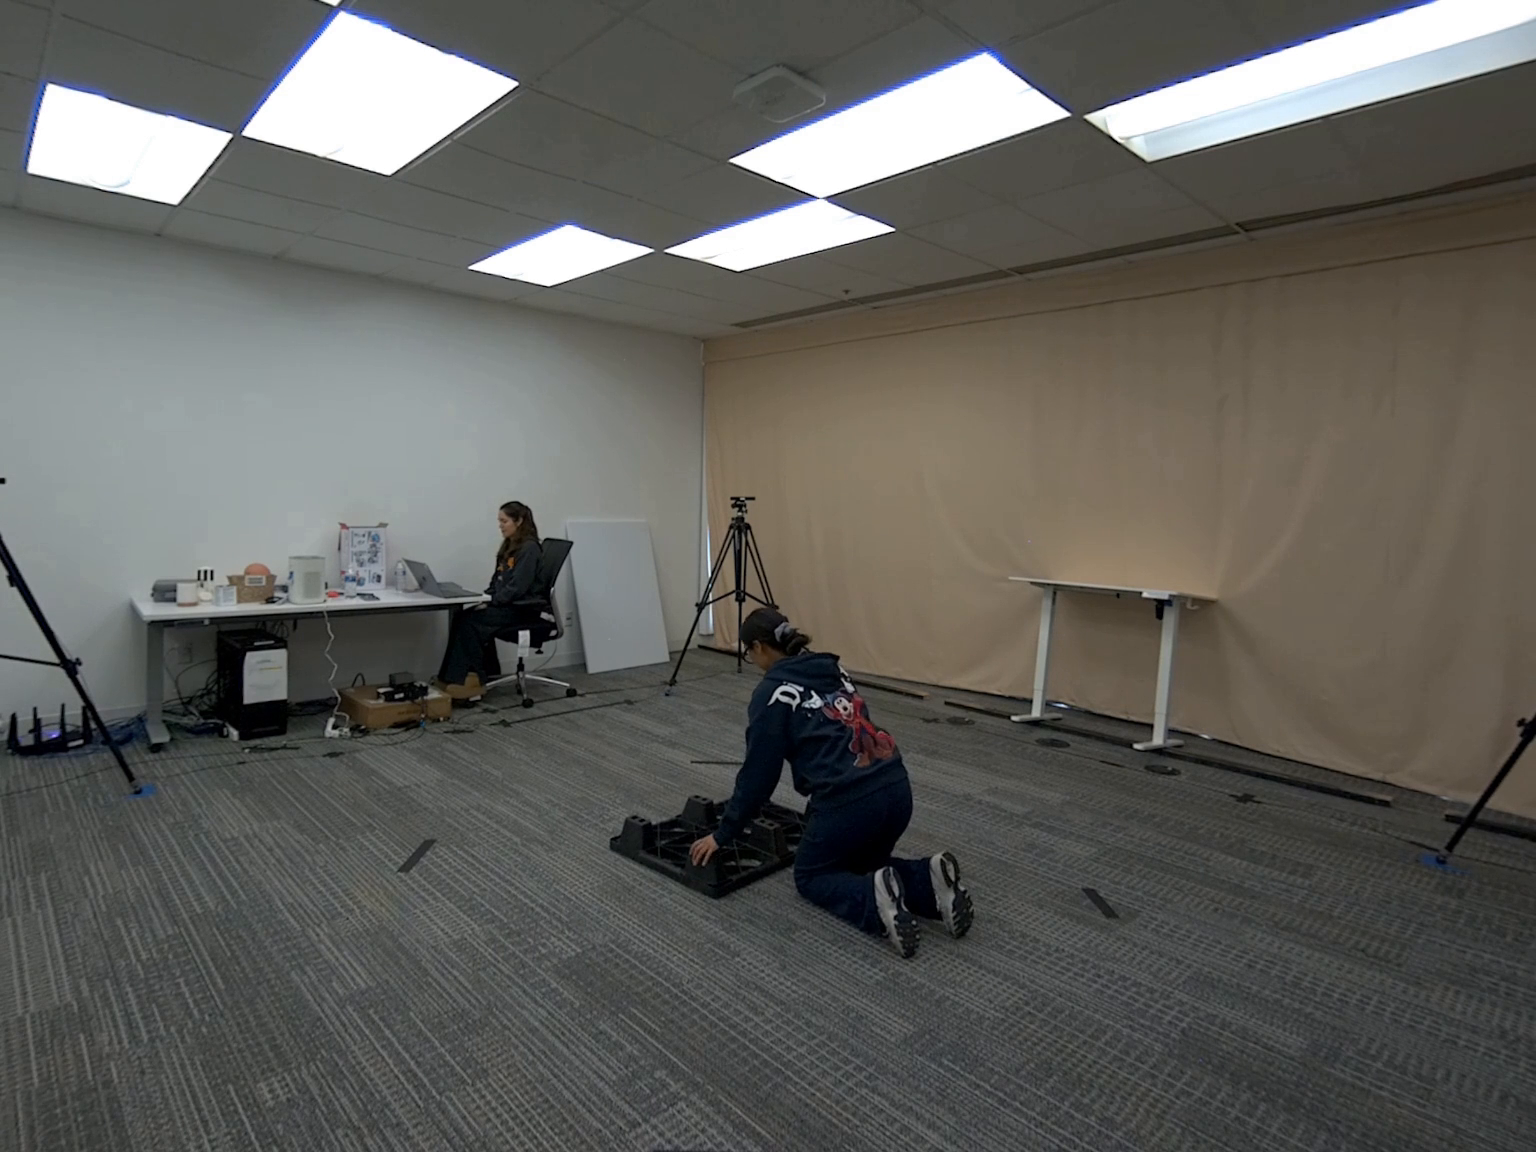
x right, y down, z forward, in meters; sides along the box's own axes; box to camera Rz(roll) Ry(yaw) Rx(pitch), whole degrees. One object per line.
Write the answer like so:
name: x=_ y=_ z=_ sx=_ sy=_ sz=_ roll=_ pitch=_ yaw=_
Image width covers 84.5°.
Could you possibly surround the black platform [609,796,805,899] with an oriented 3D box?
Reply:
black platform: x=-0.153 y=1.017 z=3.398 sx=0.620 sy=0.143 sz=0.787 roll=5 pitch=6 yaw=42
